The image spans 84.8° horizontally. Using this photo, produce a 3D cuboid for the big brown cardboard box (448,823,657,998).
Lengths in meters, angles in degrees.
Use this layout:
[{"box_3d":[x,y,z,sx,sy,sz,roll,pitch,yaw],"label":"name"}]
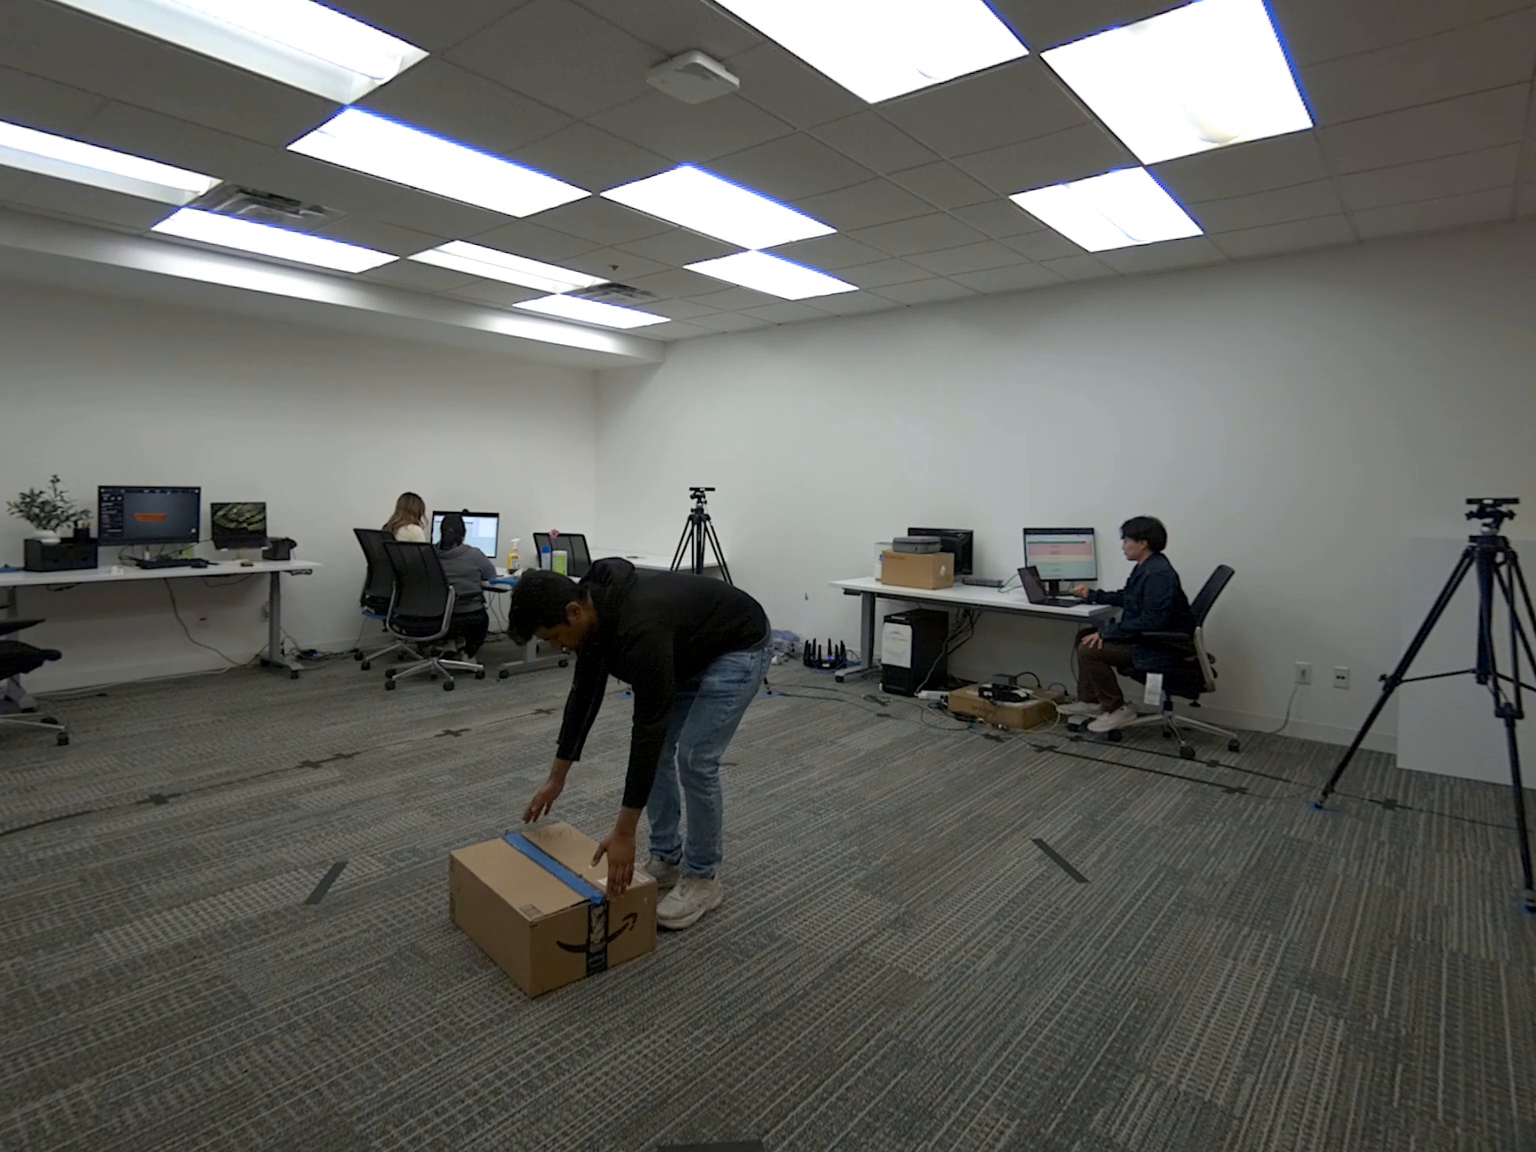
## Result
[{"box_3d":[-0.678,0.991,2.626,0.405,0.232,0.609,-4,7,-41],"label":"big brown cardboard box"}]
